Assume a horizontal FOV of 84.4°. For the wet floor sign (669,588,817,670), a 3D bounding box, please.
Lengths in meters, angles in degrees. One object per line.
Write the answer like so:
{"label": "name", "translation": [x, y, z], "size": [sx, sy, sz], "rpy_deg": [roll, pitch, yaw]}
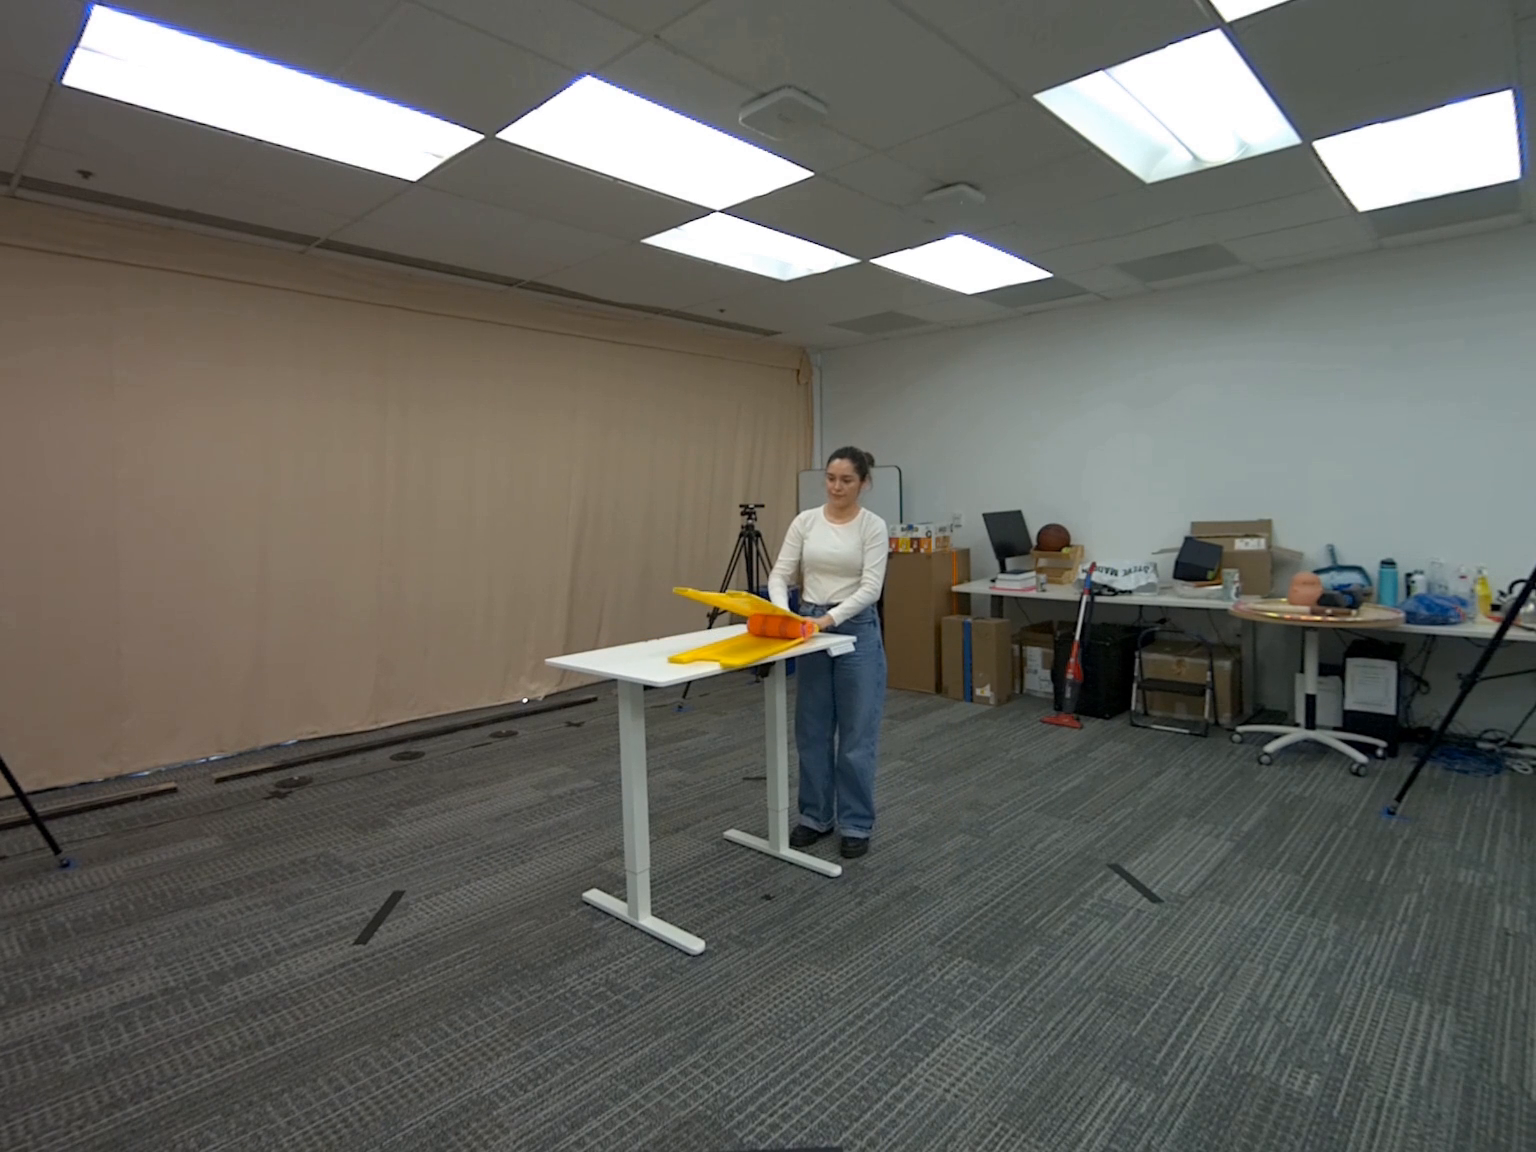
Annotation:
{"label": "wet floor sign", "translation": [-0.042, 0.190, 2.970], "size": [0.291, 0.290, 0.626], "rpy_deg": [2, -2, 31]}
